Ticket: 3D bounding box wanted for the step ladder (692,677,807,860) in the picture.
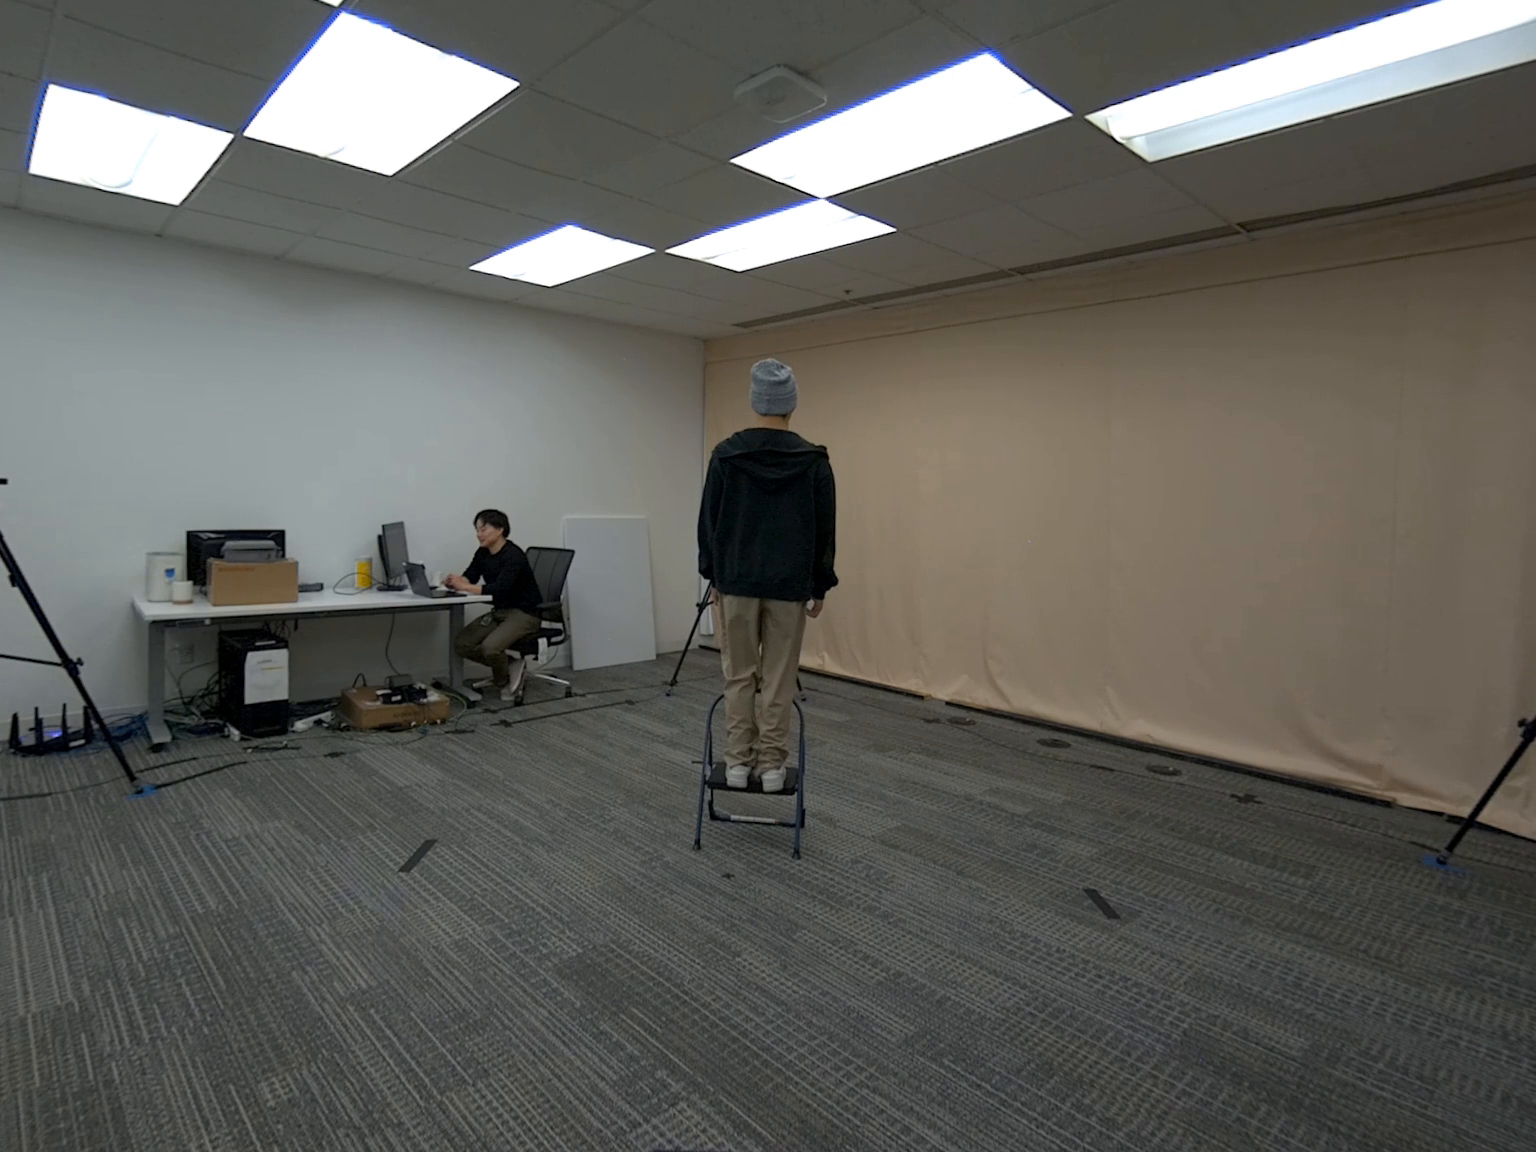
[{"bbox_3d":[-0.065,0.782,3.456,0.433,0.604,0.348,2,4,8],"label":"step ladder"}]
